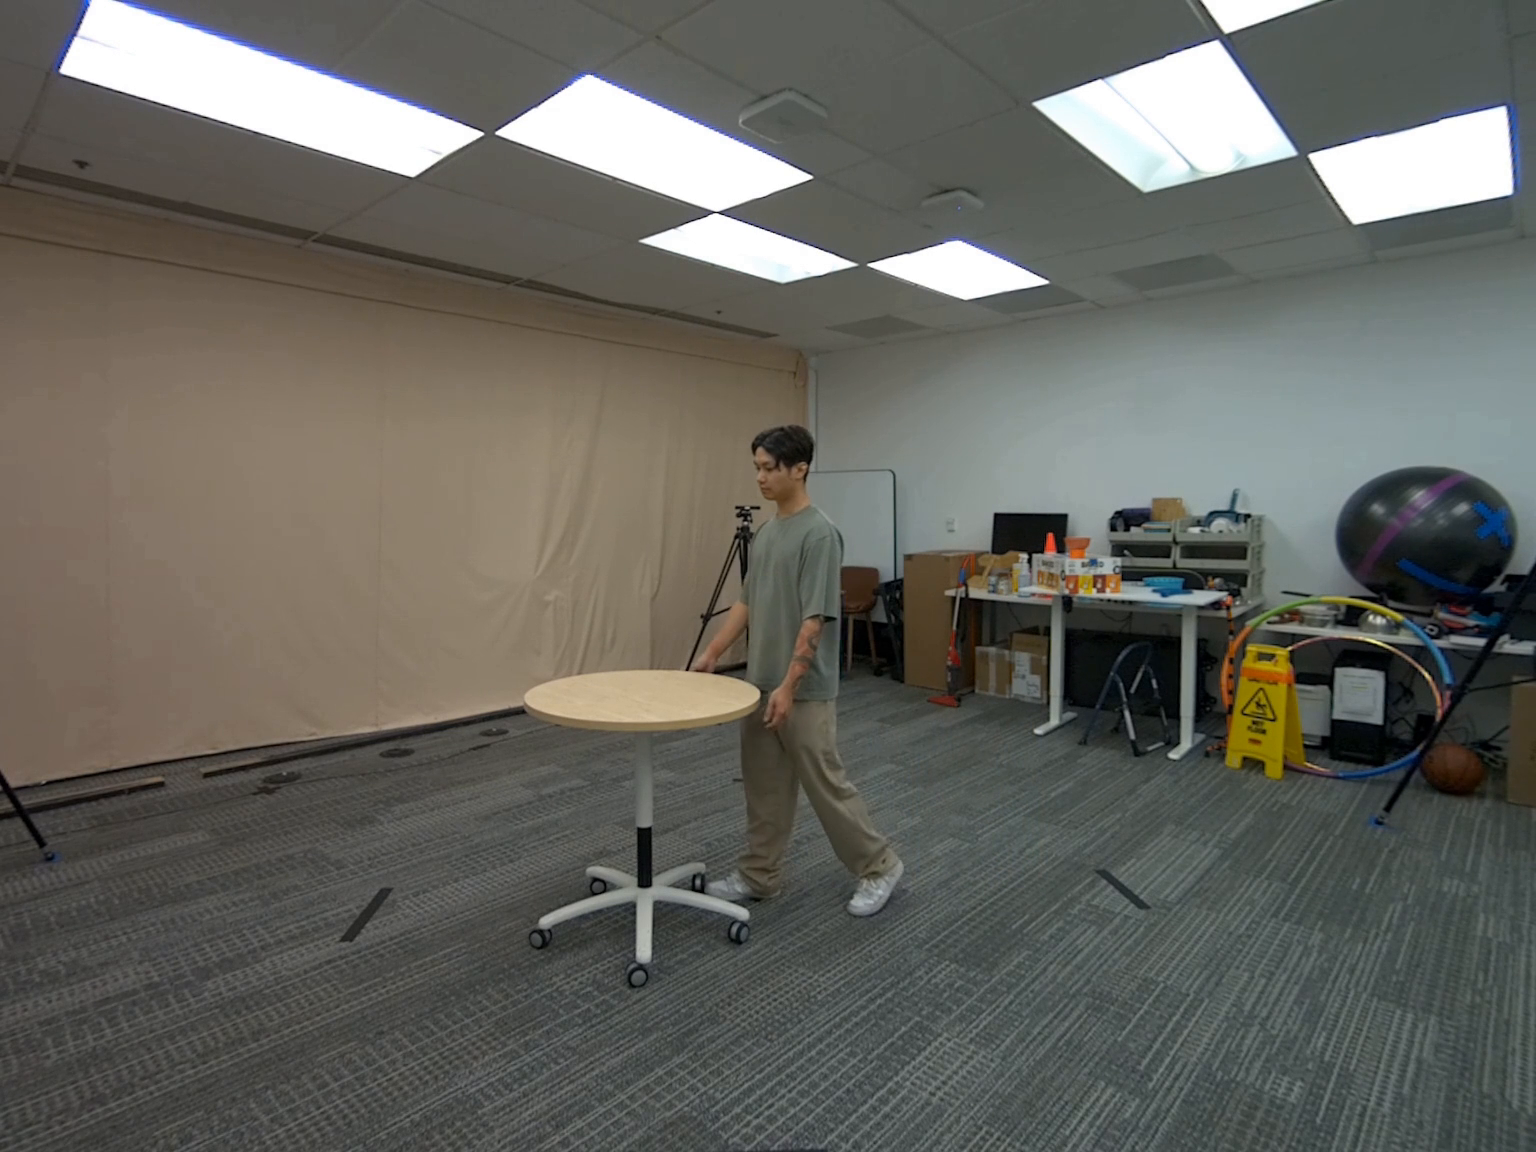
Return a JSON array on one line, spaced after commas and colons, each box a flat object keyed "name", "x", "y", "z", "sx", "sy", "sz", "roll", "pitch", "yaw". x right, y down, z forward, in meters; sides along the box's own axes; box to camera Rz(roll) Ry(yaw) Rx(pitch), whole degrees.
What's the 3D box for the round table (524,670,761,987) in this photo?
[{"name": "round table", "x": -0.424, "y": 0.774, "z": 2.769, "sx": 0.784, "sy": 0.785, "sz": 0.787, "roll": 1, "pitch": 3, "yaw": -2}]
